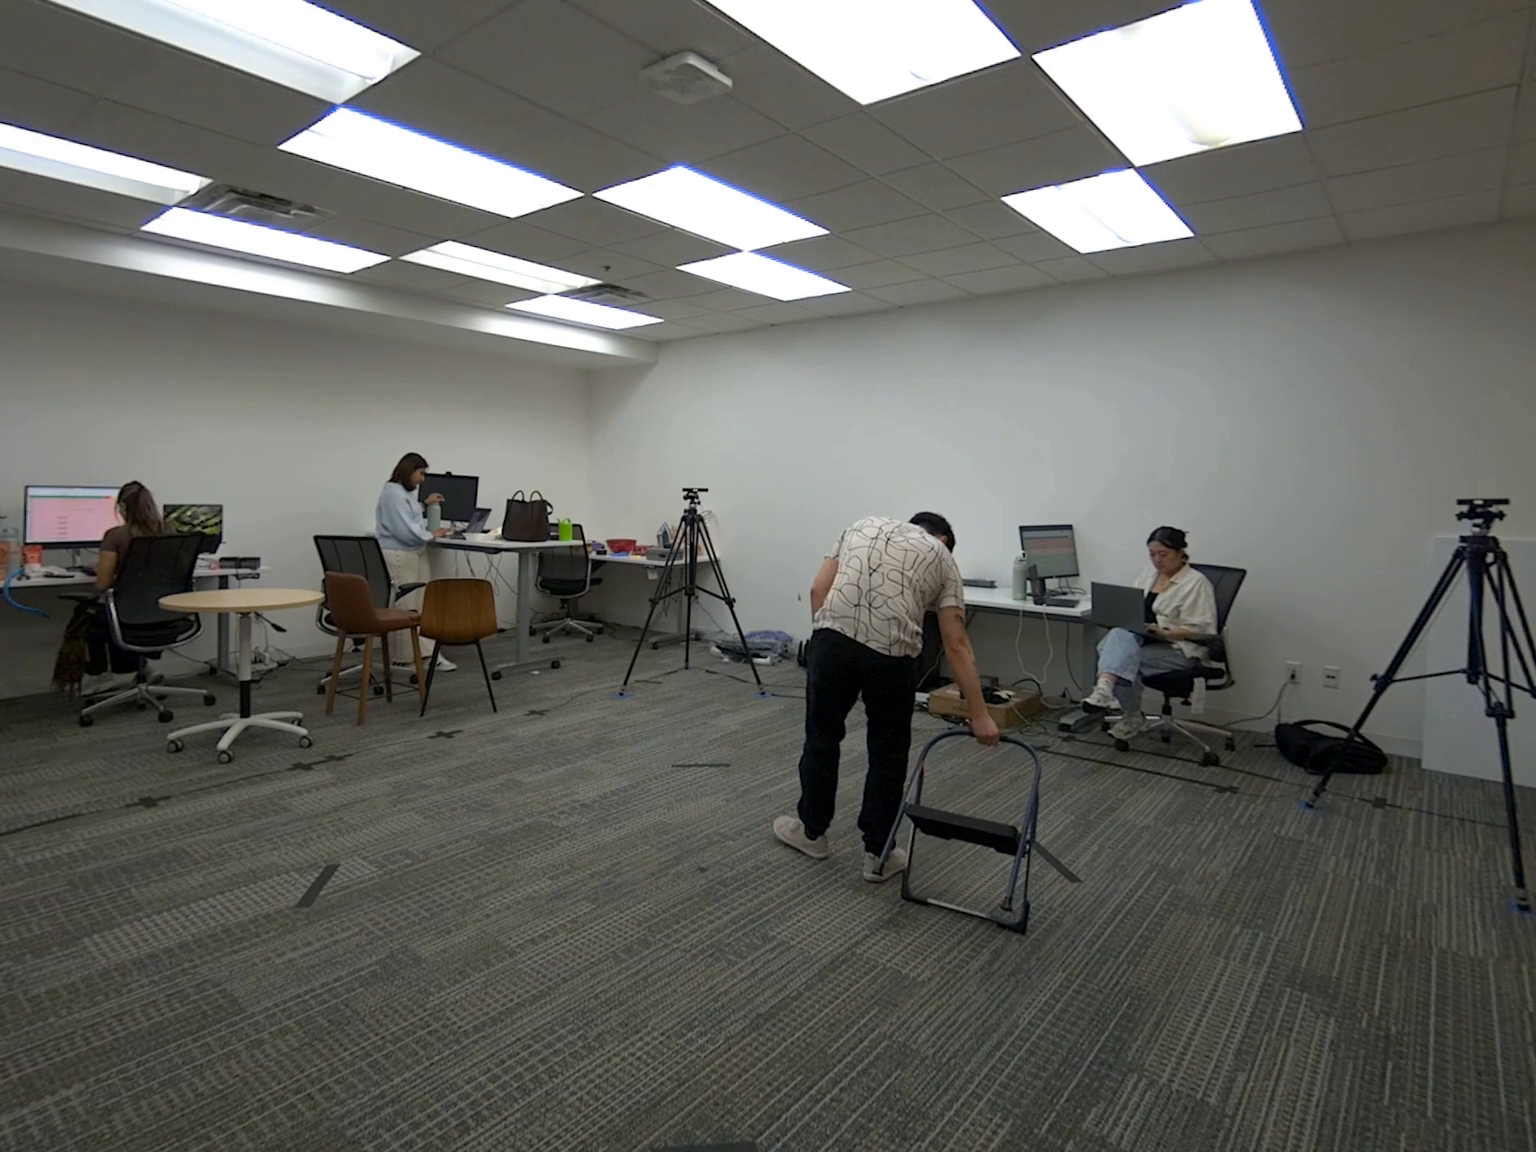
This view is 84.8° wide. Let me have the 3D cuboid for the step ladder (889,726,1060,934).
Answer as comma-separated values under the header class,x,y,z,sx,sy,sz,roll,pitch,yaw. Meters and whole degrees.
class,x,y,z,sx,sy,sz,roll,pitch,yaw
step ladder,0.665,0.780,2.832,0.443,0.614,0.335,3,-30,29
